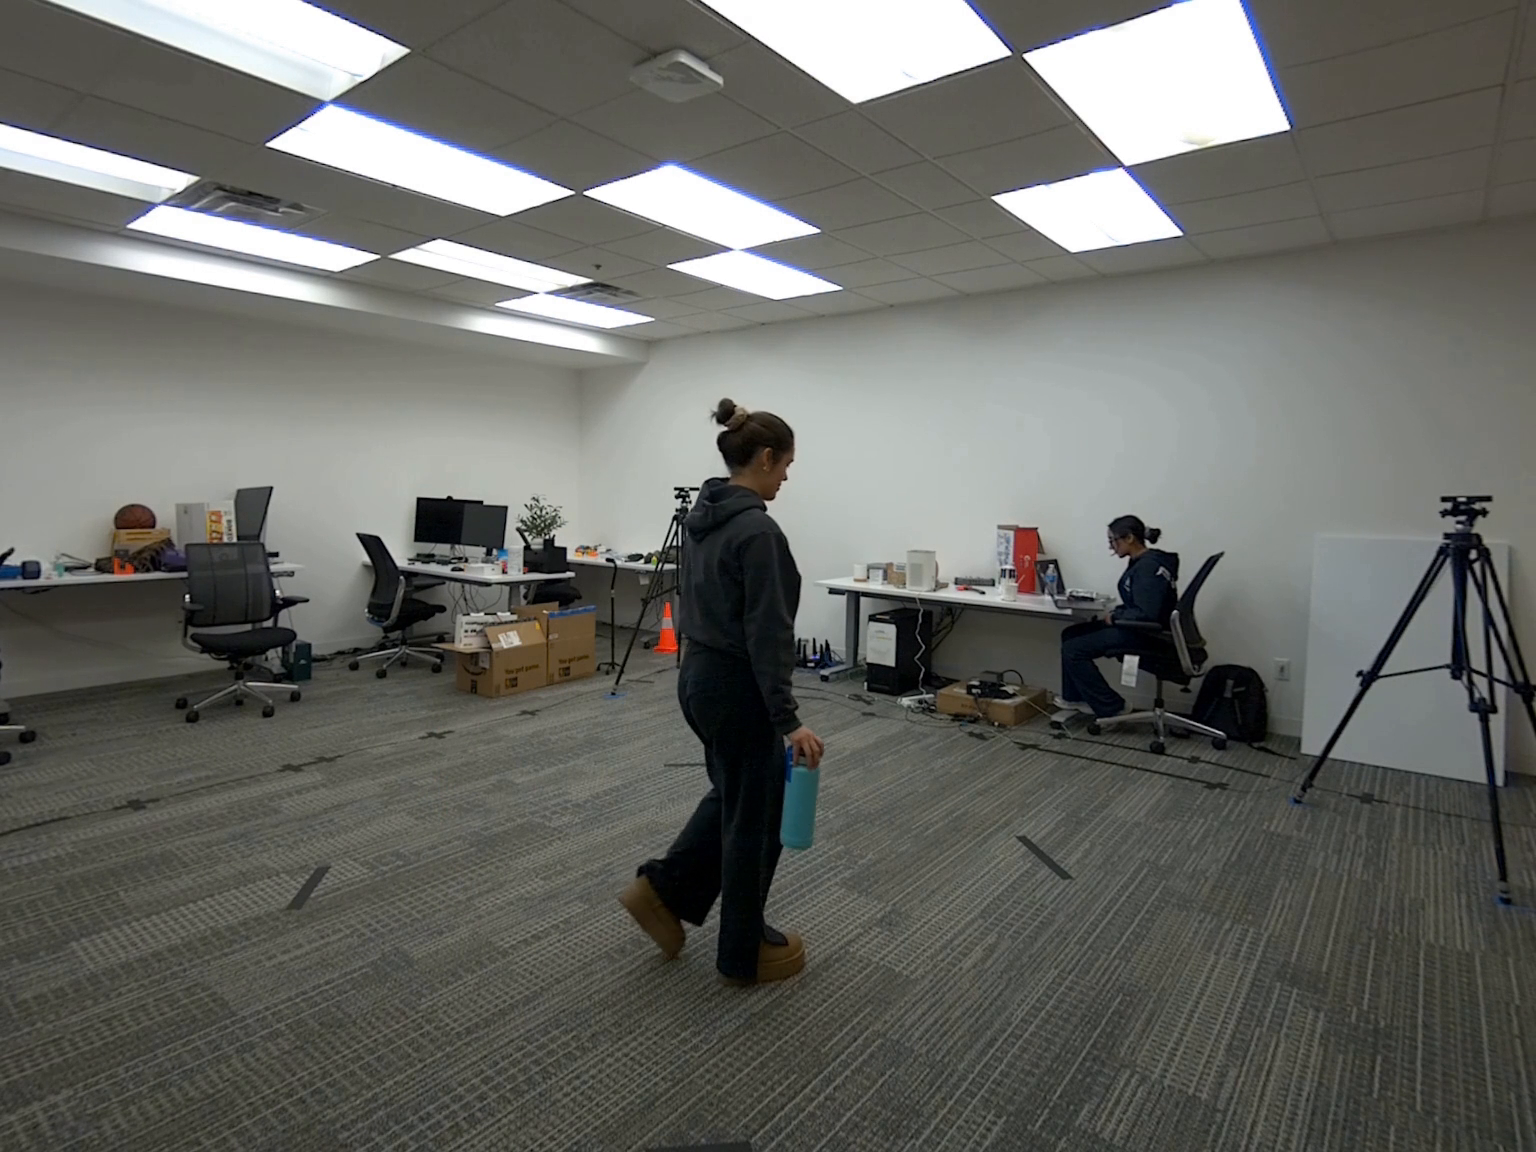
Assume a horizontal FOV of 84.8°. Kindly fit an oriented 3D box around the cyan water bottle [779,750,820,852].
[{"bbox_3d":[0.075,0.574,2.273,0.092,0.282,0.093,4,7,-2],"label":"cyan water bottle"}]
